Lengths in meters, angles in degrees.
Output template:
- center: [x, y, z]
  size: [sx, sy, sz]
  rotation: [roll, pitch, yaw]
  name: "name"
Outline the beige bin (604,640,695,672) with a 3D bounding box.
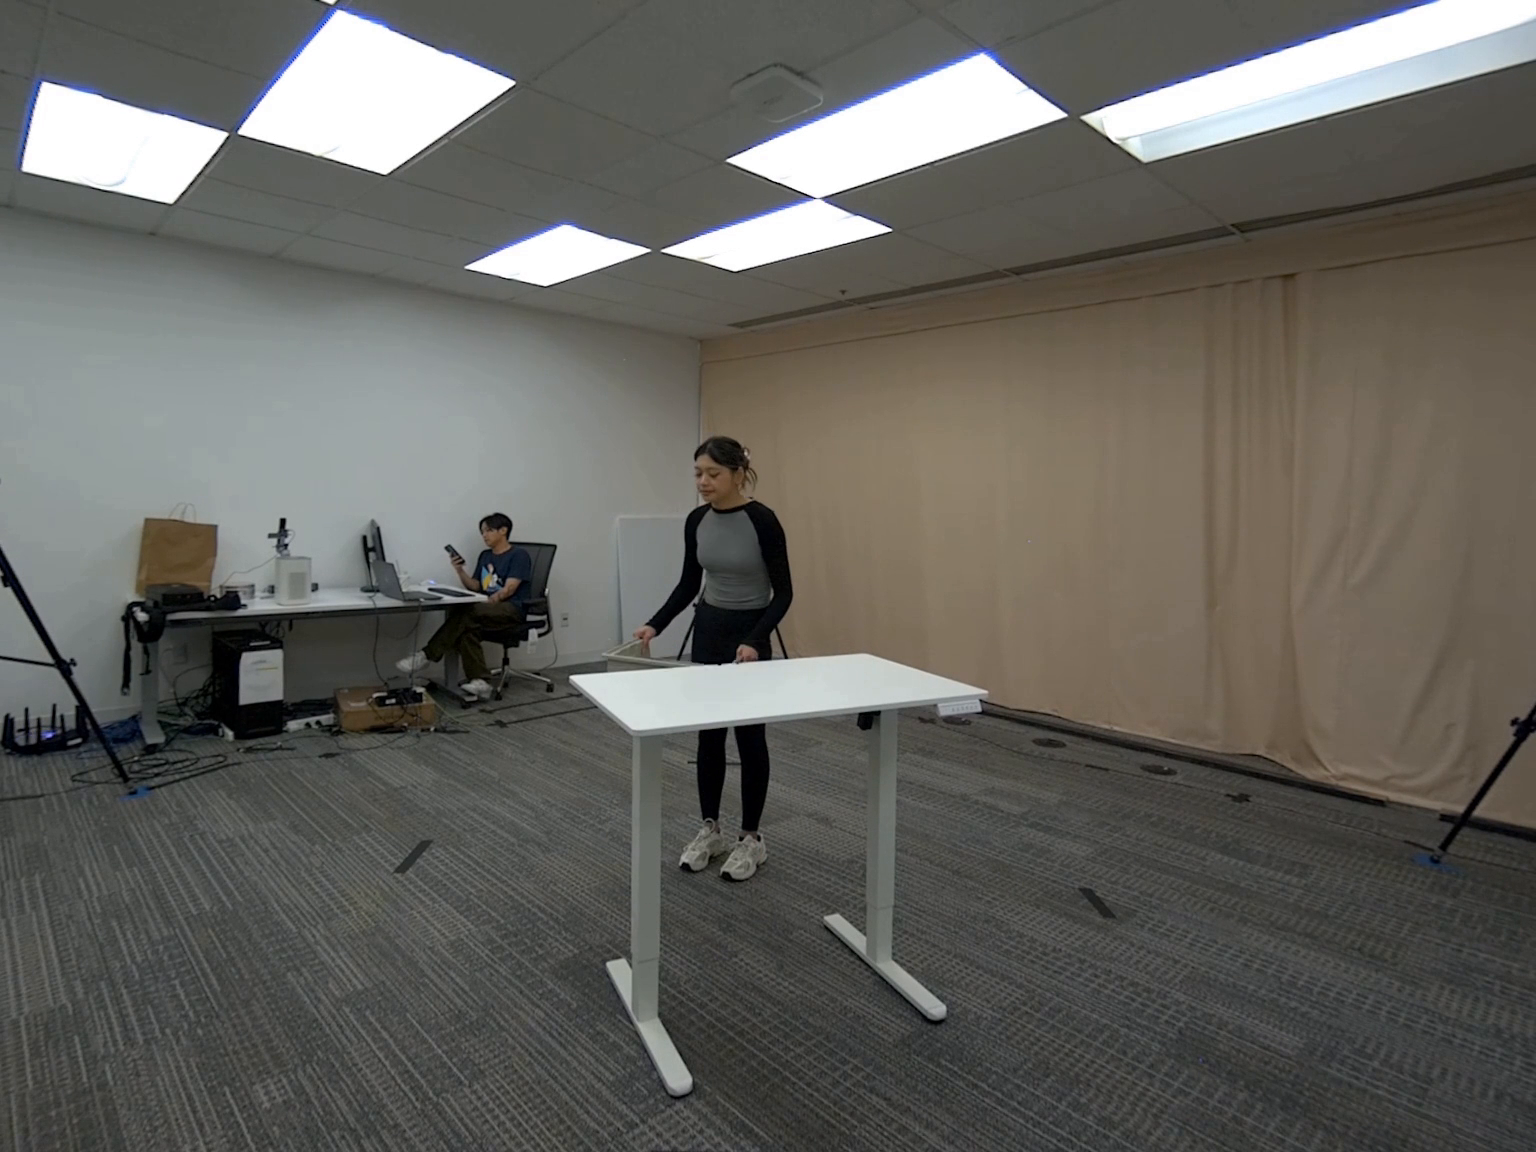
- center: [-0.311, 0.354, 2.879]
  size: [0.428, 0.188, 0.374]
  rotation: [6, 9, 17]
  name: "beige bin"
